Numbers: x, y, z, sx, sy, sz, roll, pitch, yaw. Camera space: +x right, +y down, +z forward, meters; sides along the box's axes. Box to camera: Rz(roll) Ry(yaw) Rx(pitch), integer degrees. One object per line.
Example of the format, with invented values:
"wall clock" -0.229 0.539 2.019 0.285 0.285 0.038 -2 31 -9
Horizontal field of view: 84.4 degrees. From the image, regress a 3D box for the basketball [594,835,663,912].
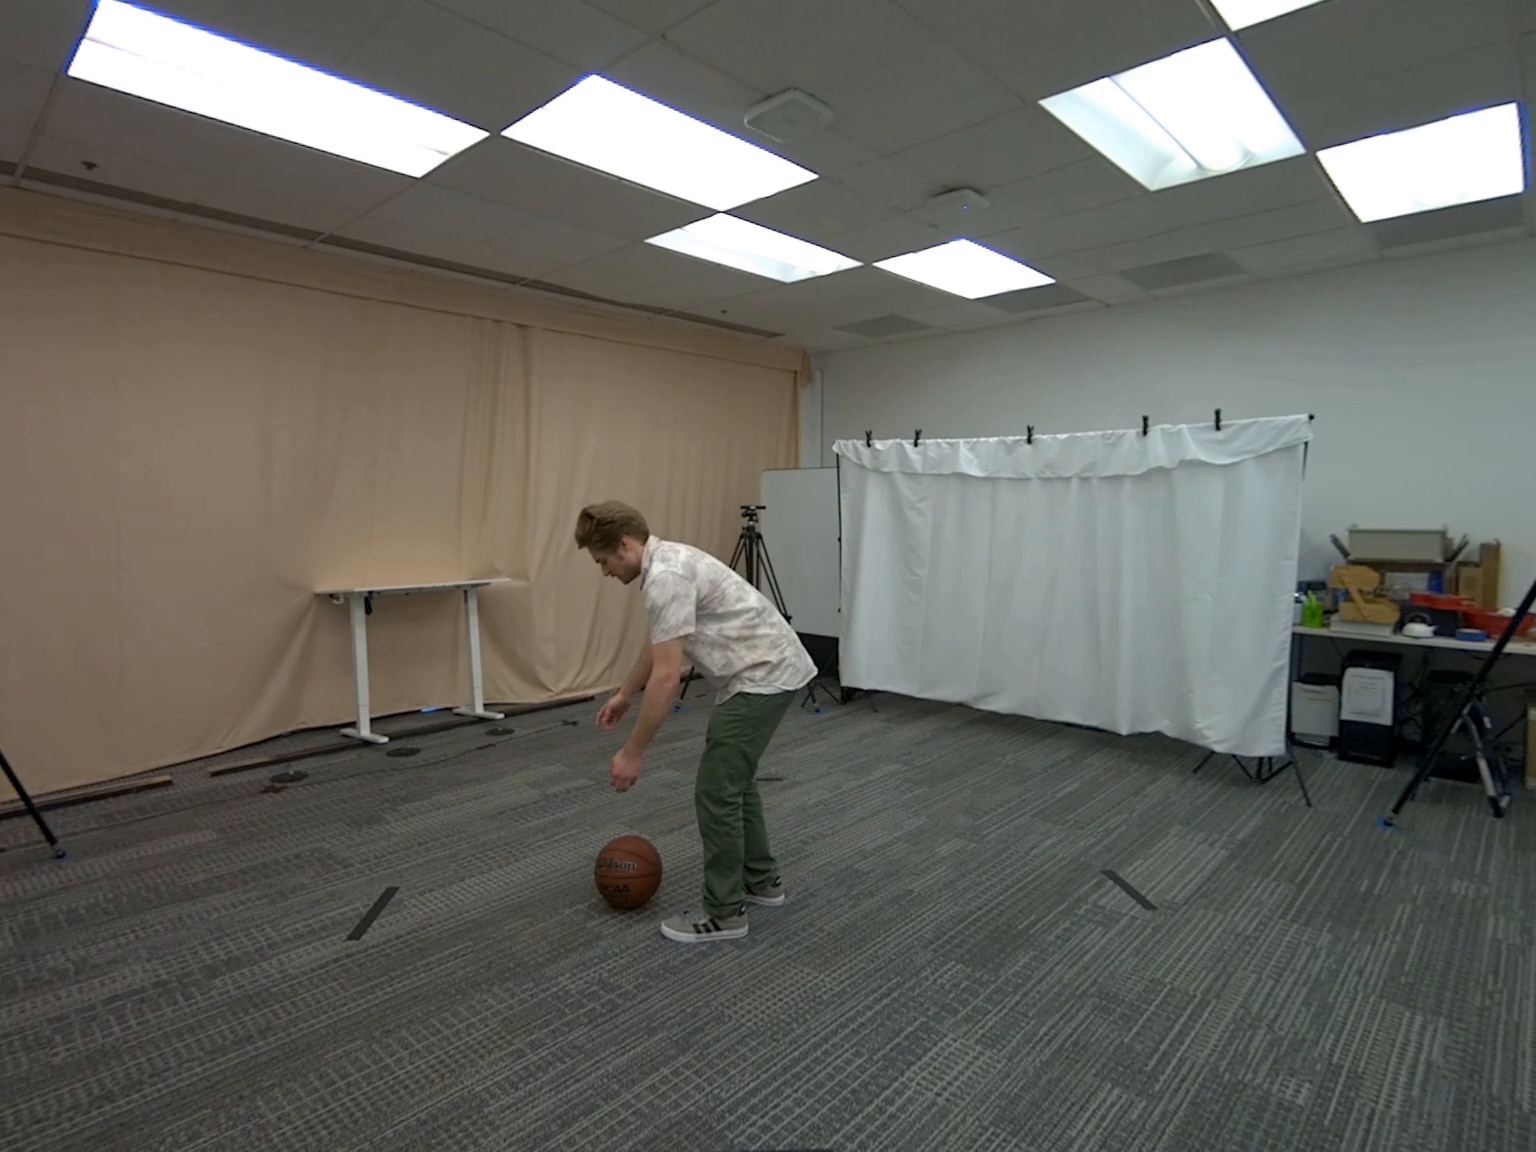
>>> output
"basketball" -0.482 1.029 2.943 0.236 0.235 0.237 0 4 -2
